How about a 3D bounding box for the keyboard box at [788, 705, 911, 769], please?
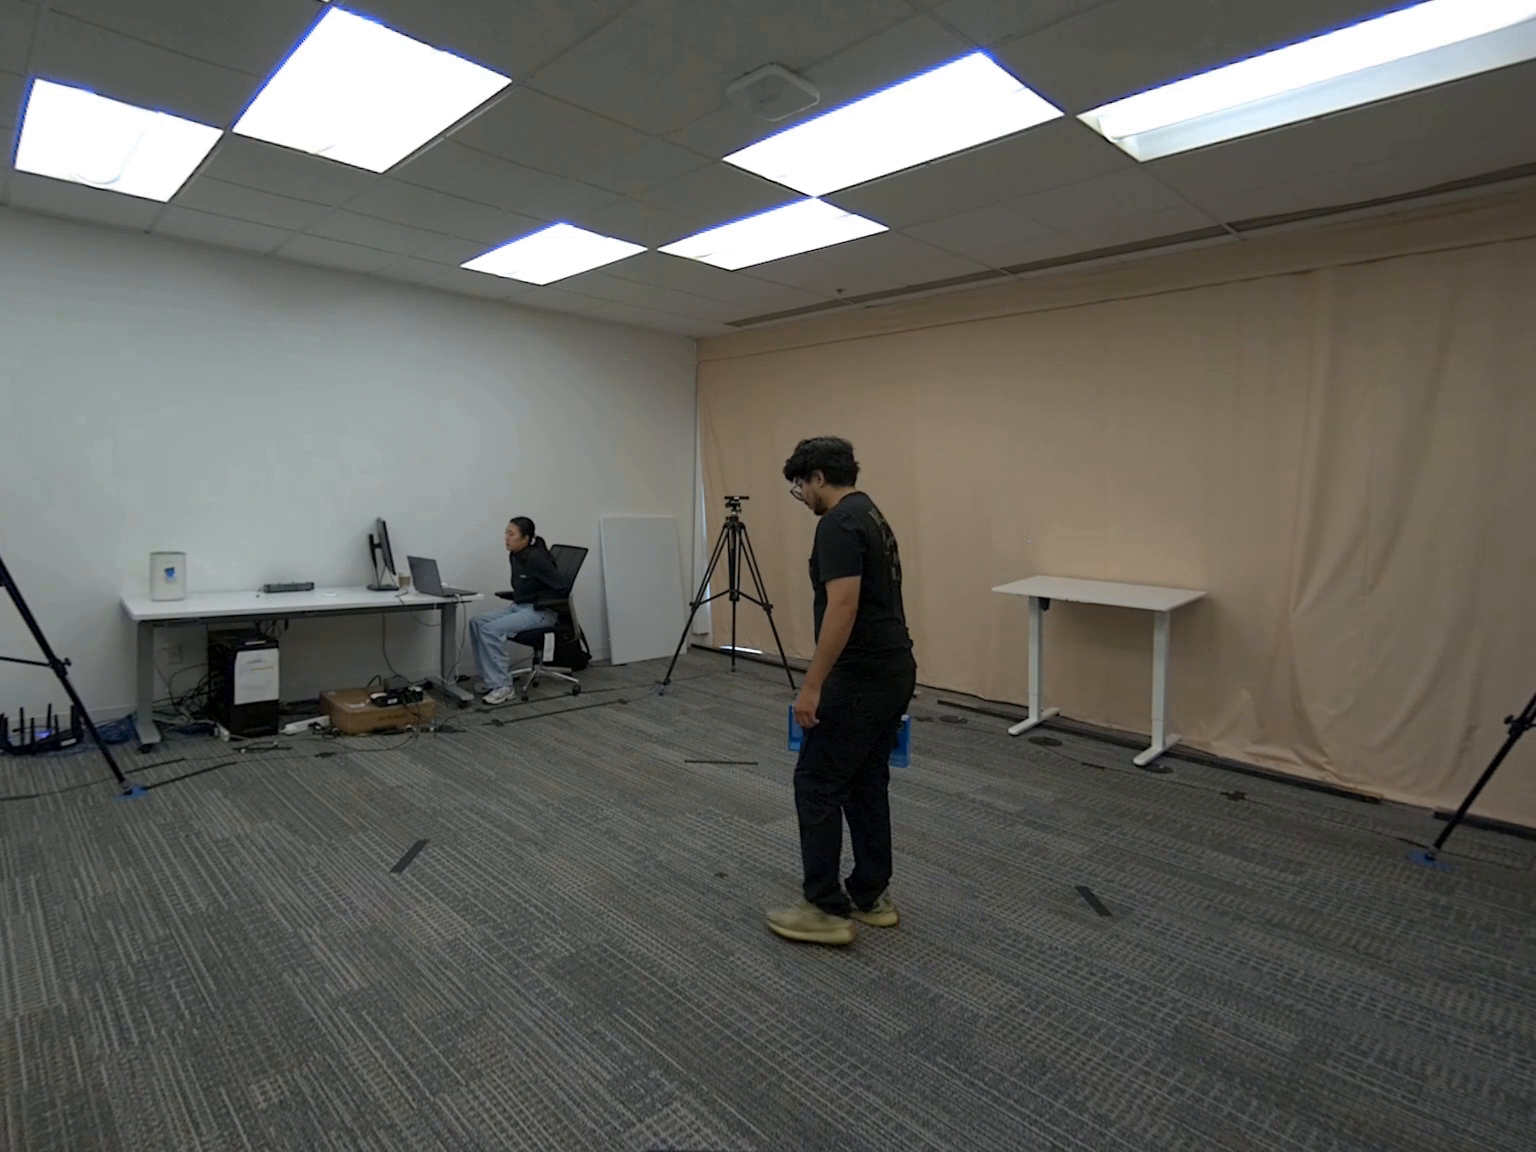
[{"bbox_3d":[0.287,0.572,3.029,0.445,0.175,0.058,4,6,24],"label":"keyboard box"}]
